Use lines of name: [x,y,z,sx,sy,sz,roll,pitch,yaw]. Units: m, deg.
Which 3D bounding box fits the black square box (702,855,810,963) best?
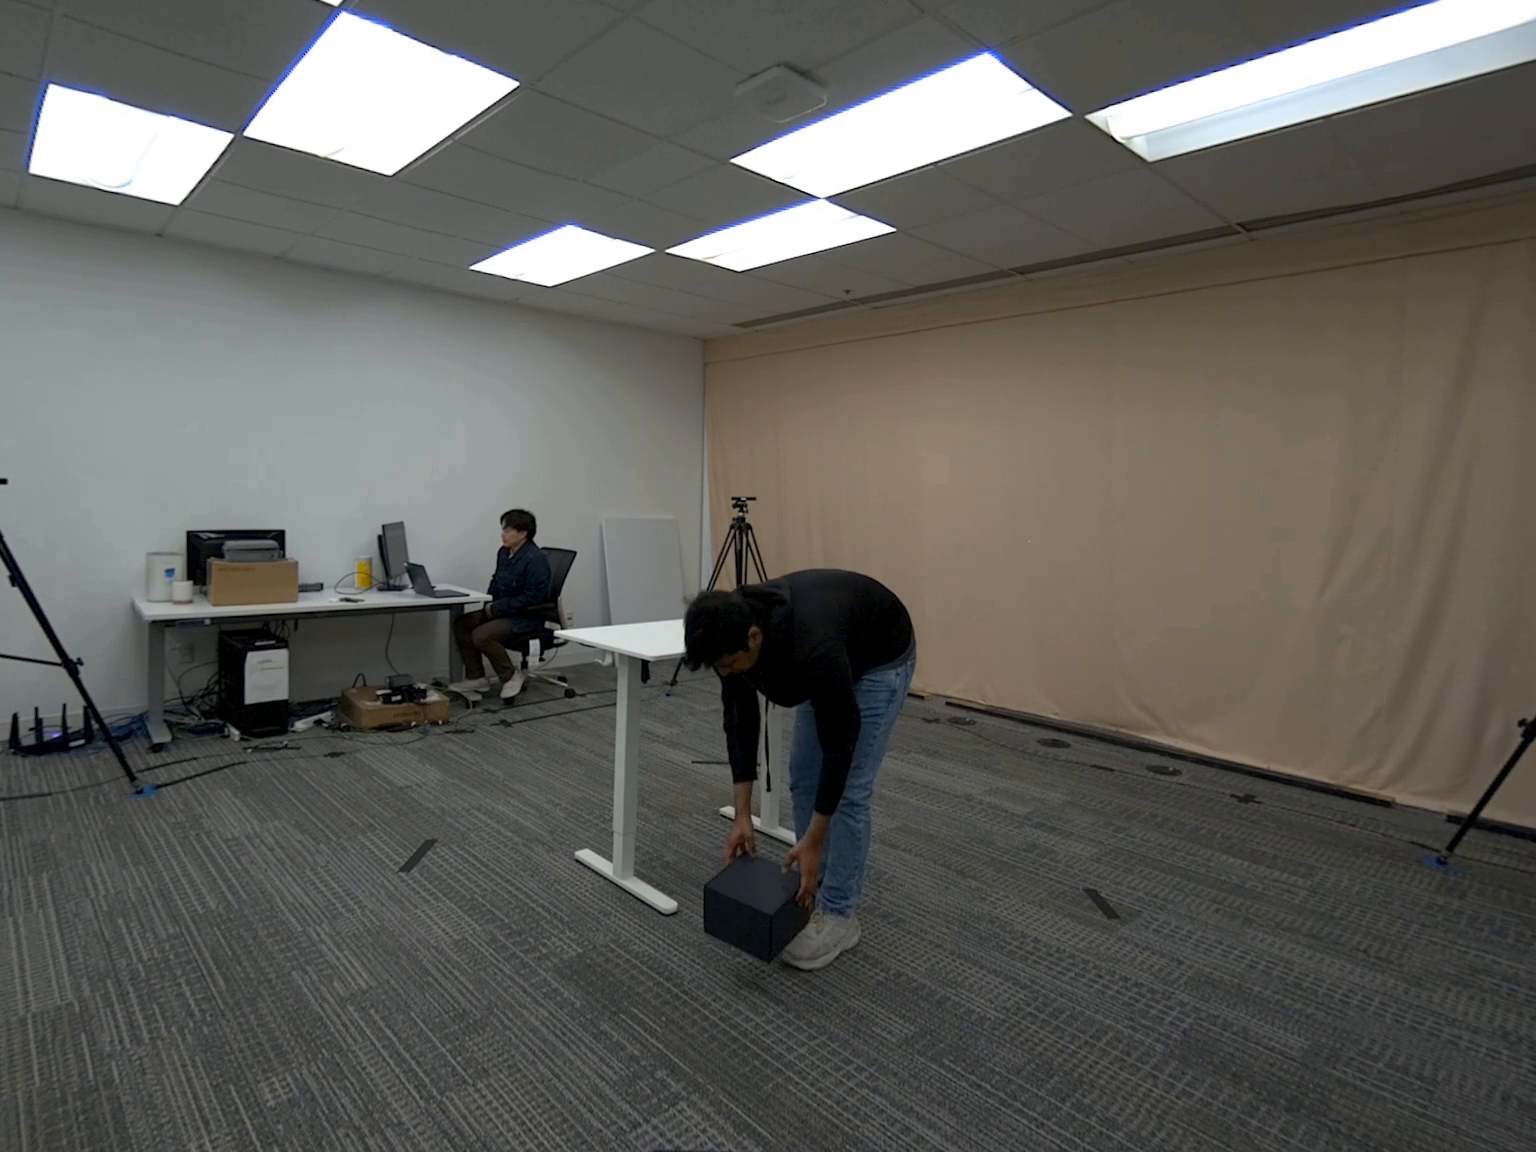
black square box: [-0.038,0.935,2.414,0.233,0.154,0.213,10,16,32]
